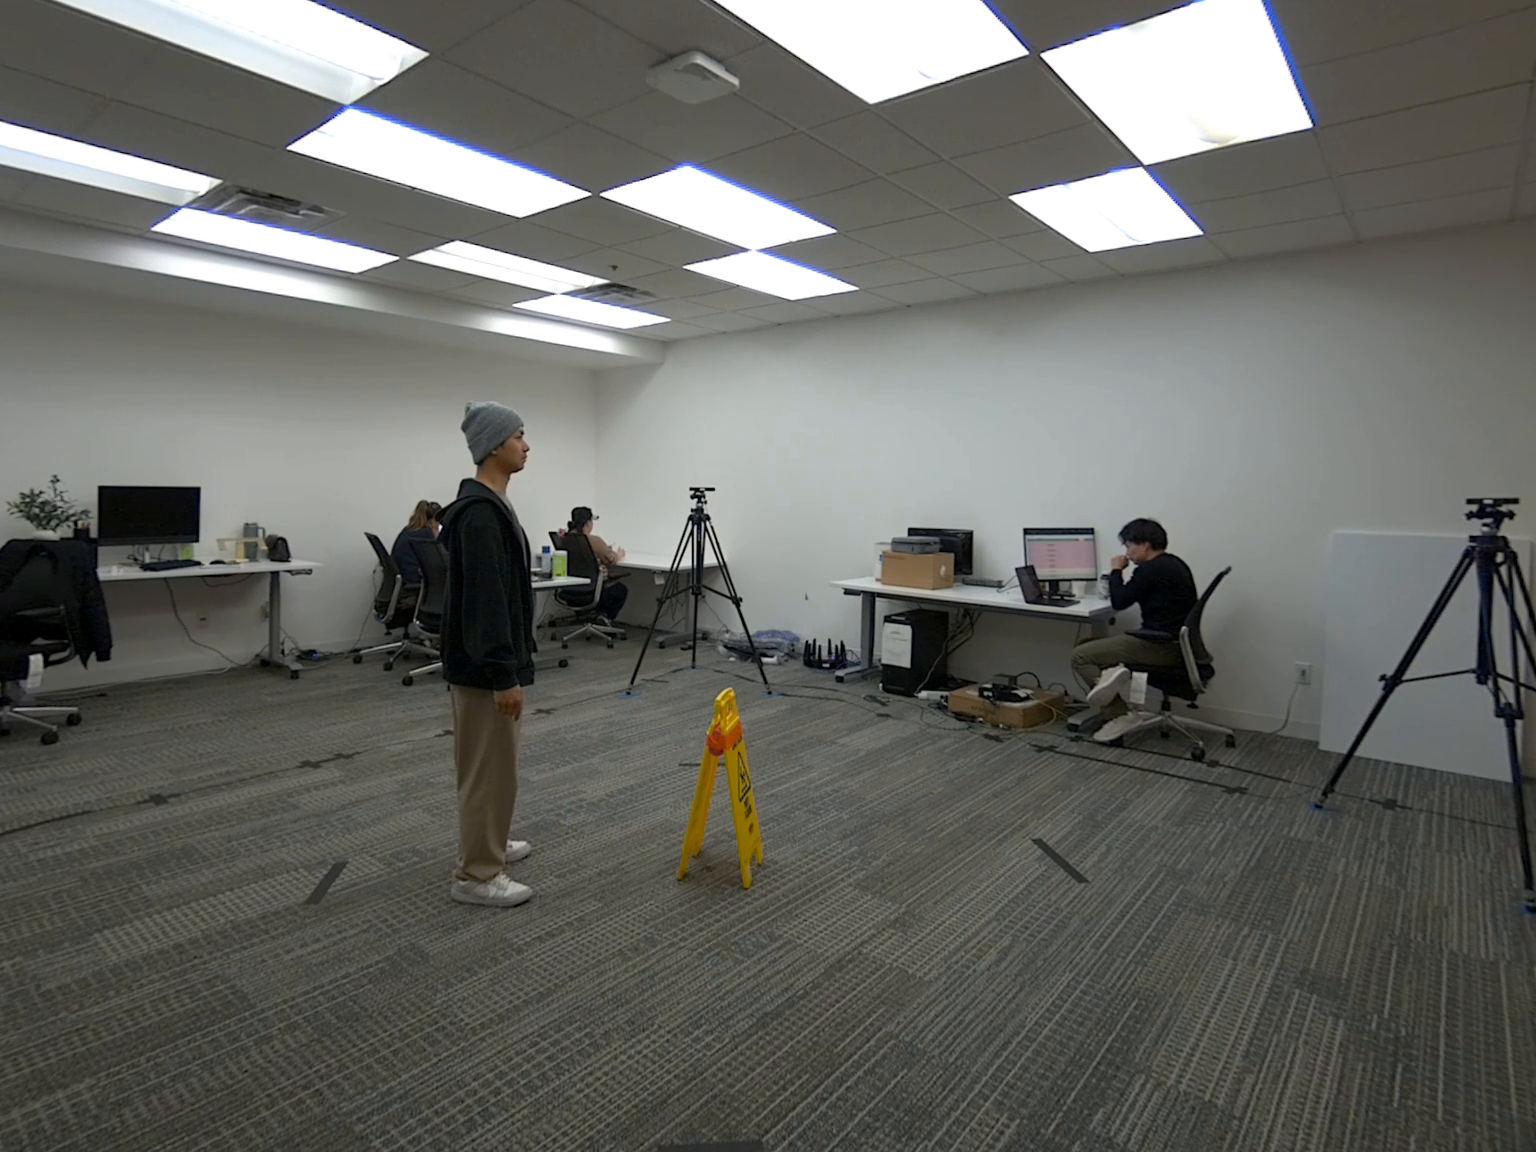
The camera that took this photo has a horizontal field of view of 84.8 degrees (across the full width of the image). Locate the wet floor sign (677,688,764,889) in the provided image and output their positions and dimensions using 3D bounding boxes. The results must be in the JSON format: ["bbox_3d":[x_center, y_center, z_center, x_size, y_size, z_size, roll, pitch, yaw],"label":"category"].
[{"bbox_3d":[-0.170,0.748,3.092,0.294,0.643,0.279,2,5,13],"label":"wet floor sign"}]
